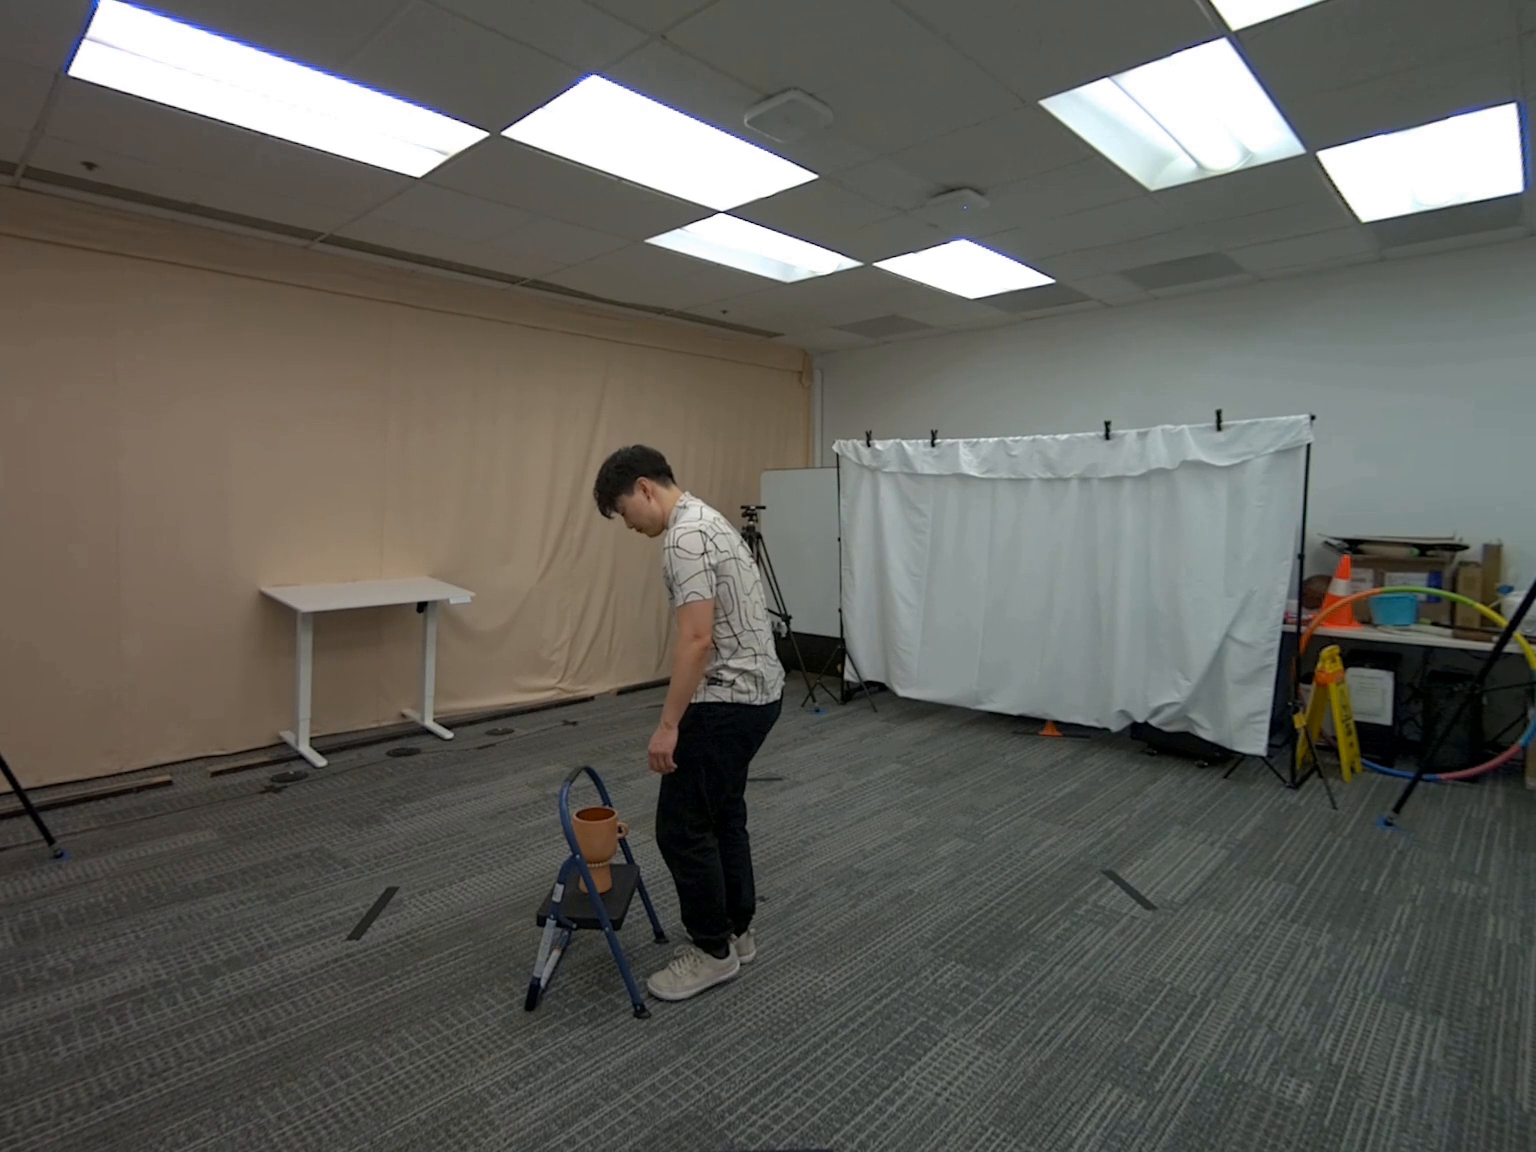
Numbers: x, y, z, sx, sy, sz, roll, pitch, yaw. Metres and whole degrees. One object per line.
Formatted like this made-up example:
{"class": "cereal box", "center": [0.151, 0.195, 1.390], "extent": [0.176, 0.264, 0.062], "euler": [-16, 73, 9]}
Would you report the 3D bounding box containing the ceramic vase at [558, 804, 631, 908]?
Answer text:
{"class": "ceramic vase", "center": [-0.512, 0.818, 2.496], "extent": [0.164, 0.219, 0.131], "euler": [4, 6, 39]}
